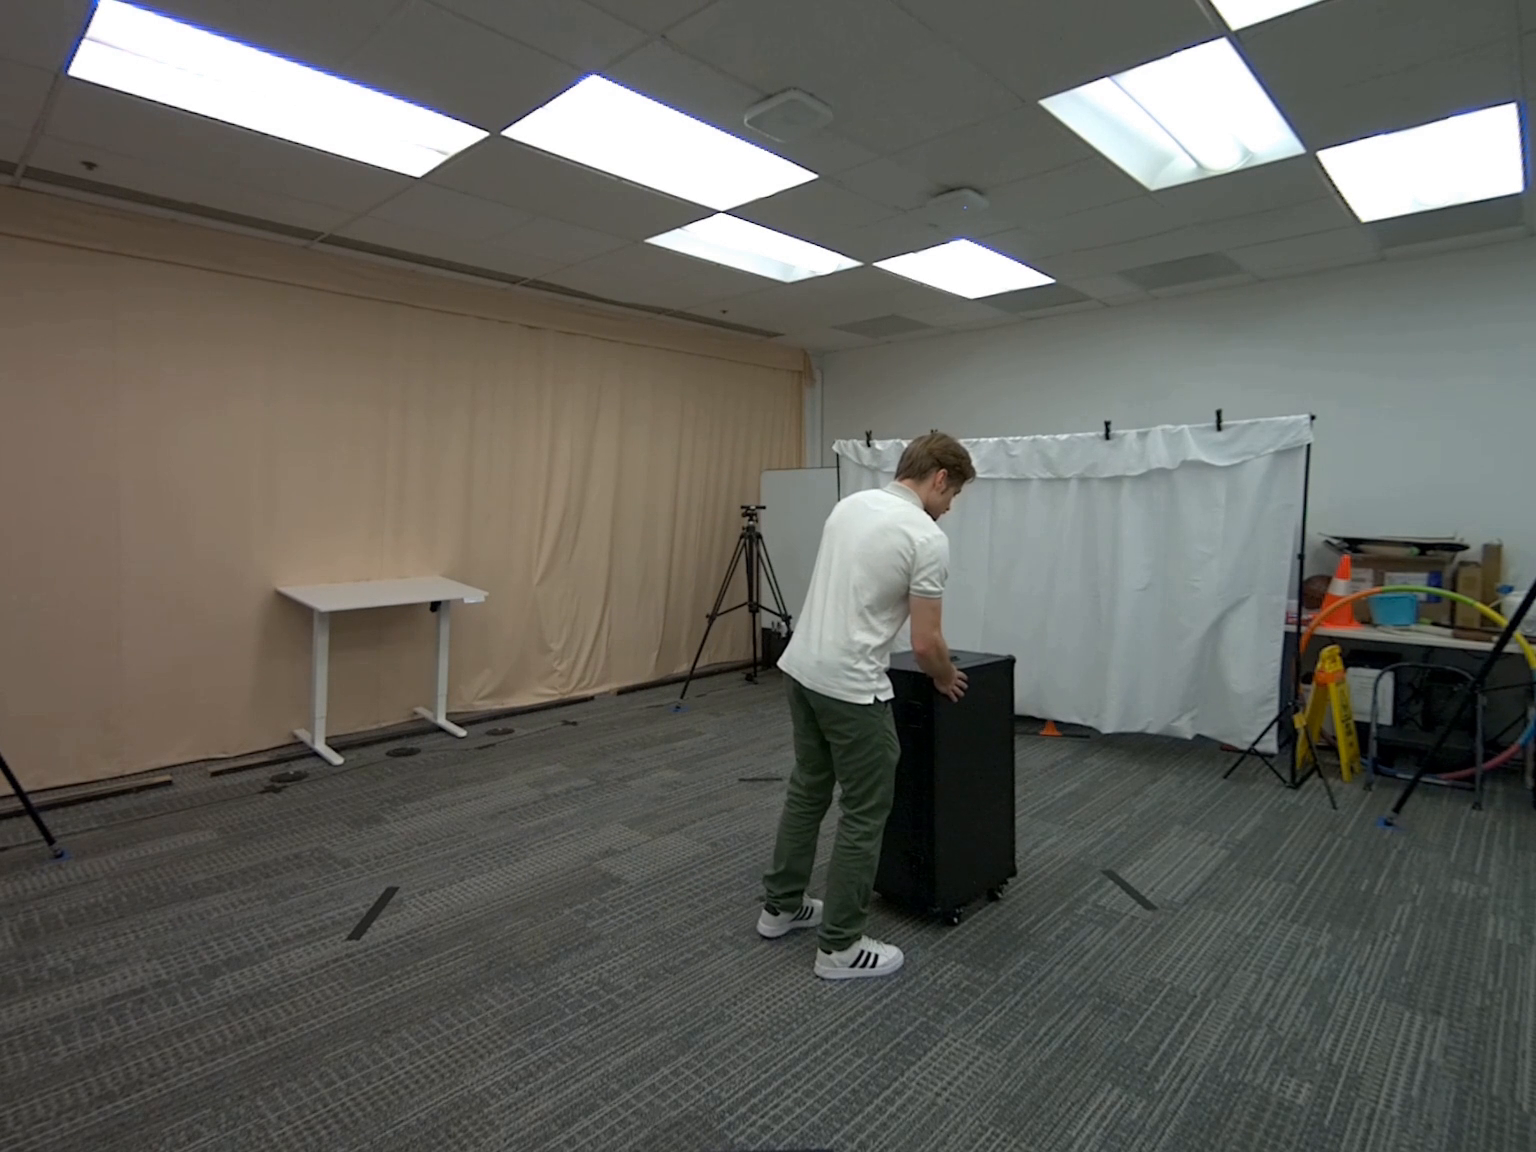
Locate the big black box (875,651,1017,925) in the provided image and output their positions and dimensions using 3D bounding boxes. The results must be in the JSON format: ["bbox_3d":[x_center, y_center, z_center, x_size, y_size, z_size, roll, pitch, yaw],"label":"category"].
[{"bbox_3d":[0.583,0.718,2.974,0.505,0.860,0.409,-3,2,-42],"label":"big black box"}]
